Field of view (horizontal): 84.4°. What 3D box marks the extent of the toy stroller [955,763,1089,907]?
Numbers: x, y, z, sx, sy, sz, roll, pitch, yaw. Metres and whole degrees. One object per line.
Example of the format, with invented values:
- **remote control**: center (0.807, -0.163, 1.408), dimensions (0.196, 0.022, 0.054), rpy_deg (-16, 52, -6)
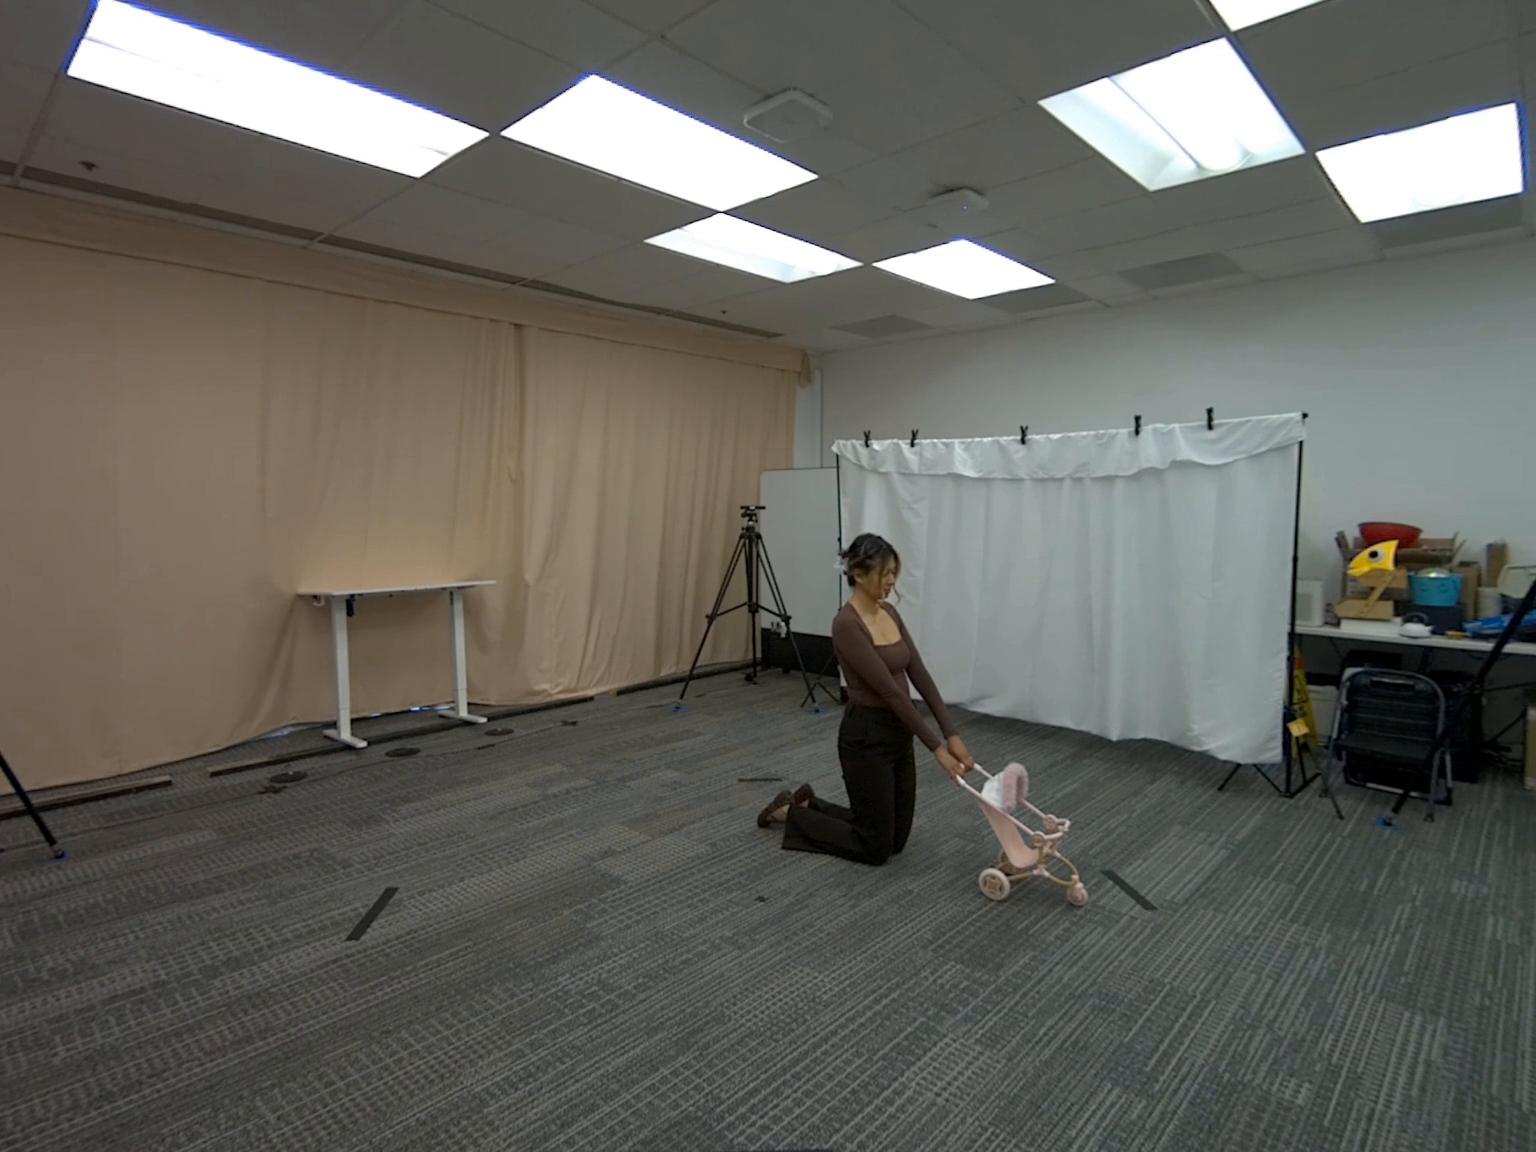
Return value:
- **toy stroller**: center (0.917, 0.915, 3.026), dimensions (0.349, 0.539, 0.273), rpy_deg (-20, -9, 37)
